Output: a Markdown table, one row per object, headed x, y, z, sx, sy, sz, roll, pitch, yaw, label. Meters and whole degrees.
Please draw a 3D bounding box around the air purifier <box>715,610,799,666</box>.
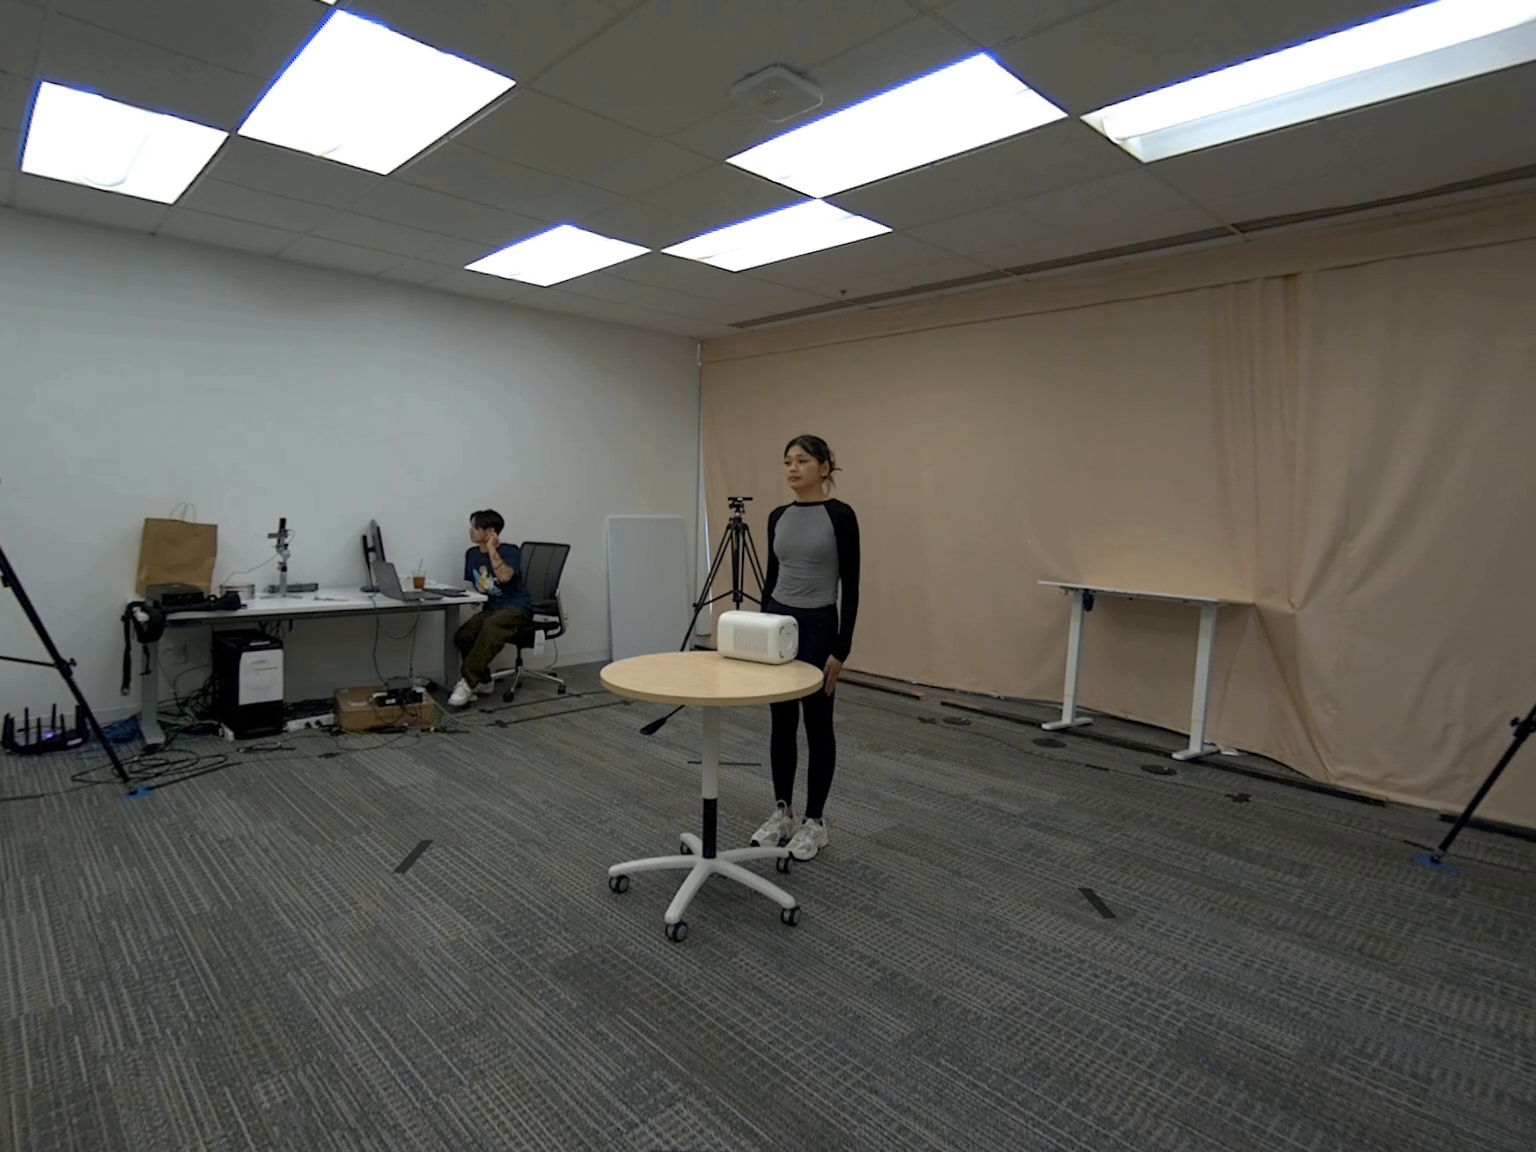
| x | y | z | sx | sy | sz | roll | pitch | yaw | label |
| --- | --- | --- | --- | --- | --- | --- | --- | --- | --- |
| -0.041 | 0.225 | 3.124 | 0.272 | 0.171 | 0.167 | 4 | 4 | 35 | air purifier |
